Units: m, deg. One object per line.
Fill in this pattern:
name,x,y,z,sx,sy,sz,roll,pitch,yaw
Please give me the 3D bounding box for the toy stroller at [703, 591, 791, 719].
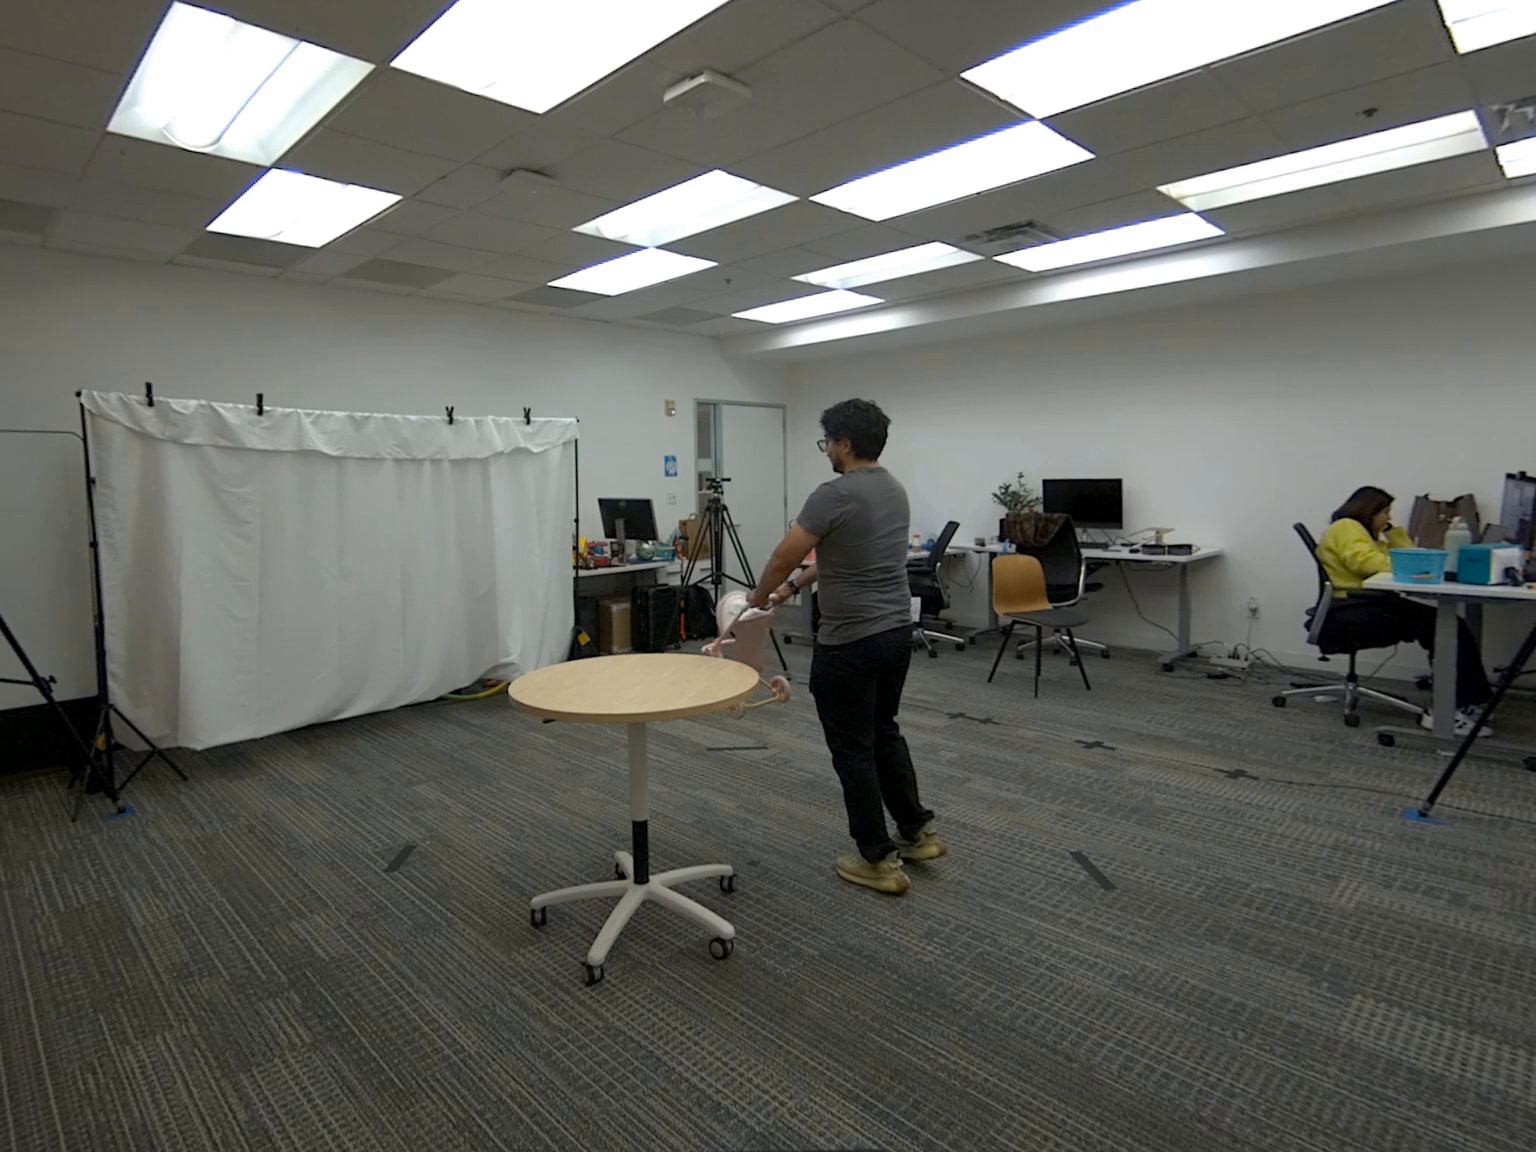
toy stroller,-0.102,0.305,3.389,0.275,0.529,0.353,-8,16,-37
